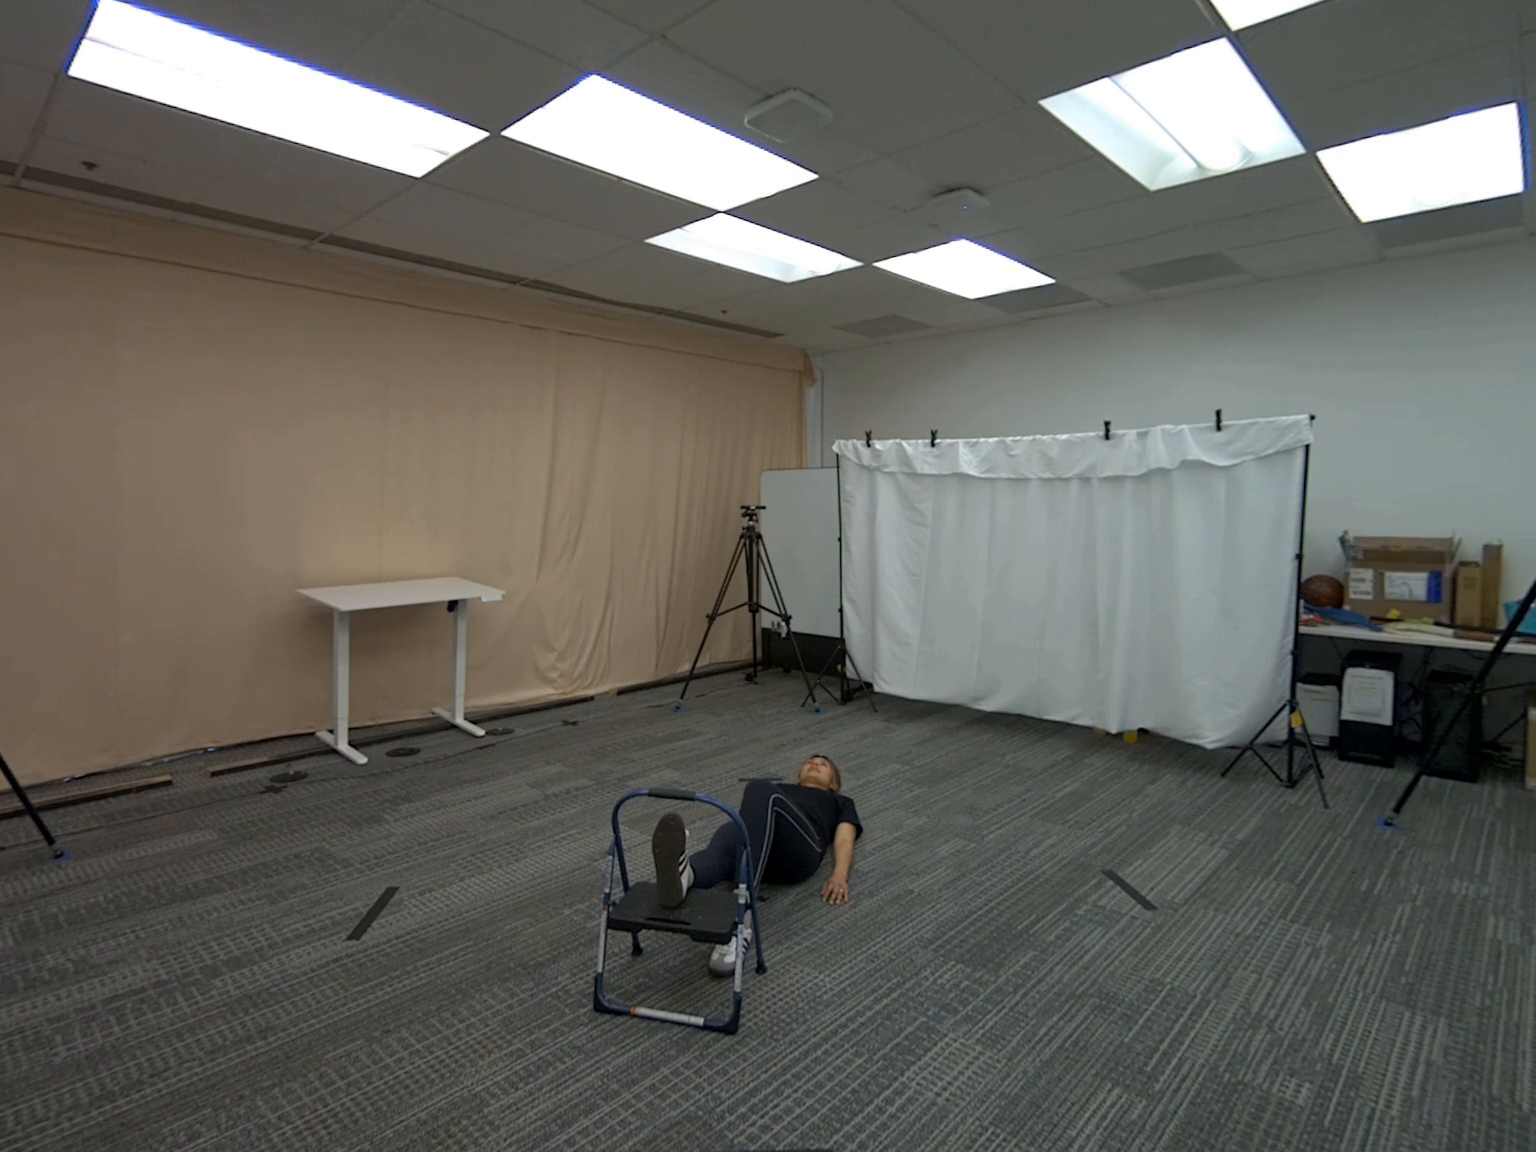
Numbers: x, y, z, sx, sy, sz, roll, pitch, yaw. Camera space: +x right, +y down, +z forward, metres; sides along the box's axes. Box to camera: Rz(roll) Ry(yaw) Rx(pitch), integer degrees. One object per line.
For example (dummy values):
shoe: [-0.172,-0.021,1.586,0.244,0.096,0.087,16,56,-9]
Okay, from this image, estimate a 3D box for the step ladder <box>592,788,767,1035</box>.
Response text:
step ladder: [-0.252,0.893,2.411,0.437,0.605,0.344,1,3,14]
